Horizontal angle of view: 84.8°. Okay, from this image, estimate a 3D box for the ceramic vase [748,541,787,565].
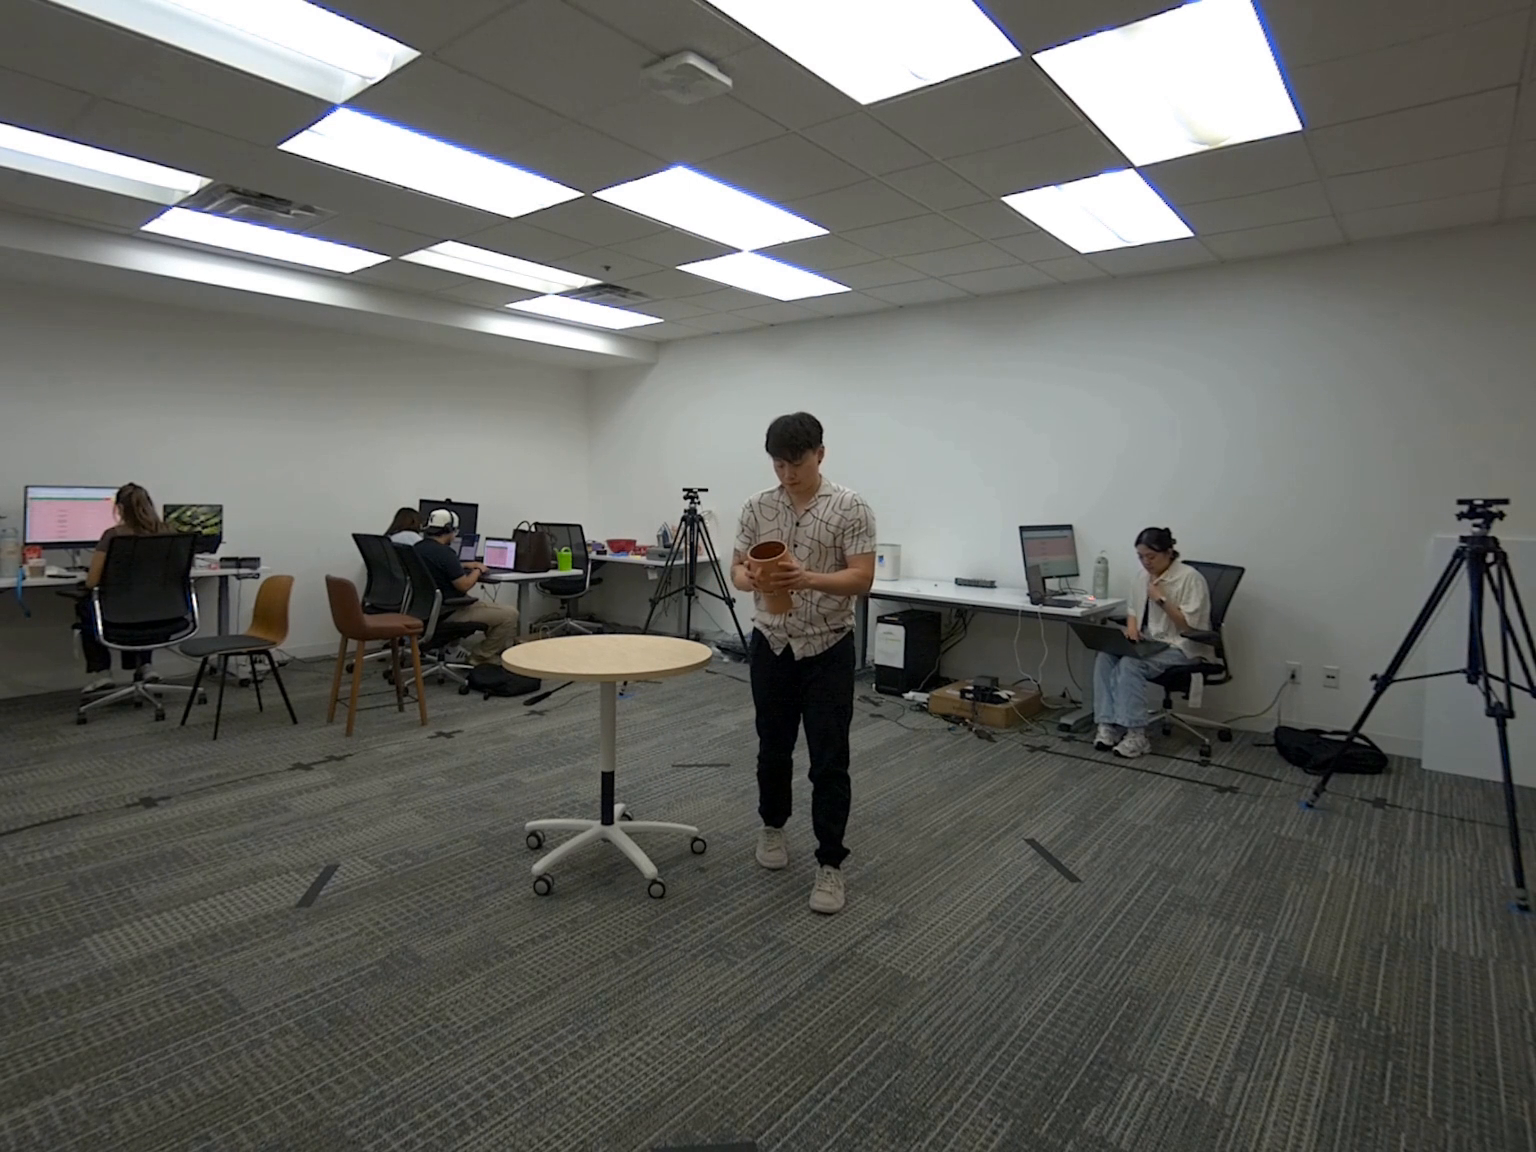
[{"bbox_3d":[0.030,0.006,2.802,0.157,0.213,0.140,-22,30,-15],"label":"ceramic vase"}]
